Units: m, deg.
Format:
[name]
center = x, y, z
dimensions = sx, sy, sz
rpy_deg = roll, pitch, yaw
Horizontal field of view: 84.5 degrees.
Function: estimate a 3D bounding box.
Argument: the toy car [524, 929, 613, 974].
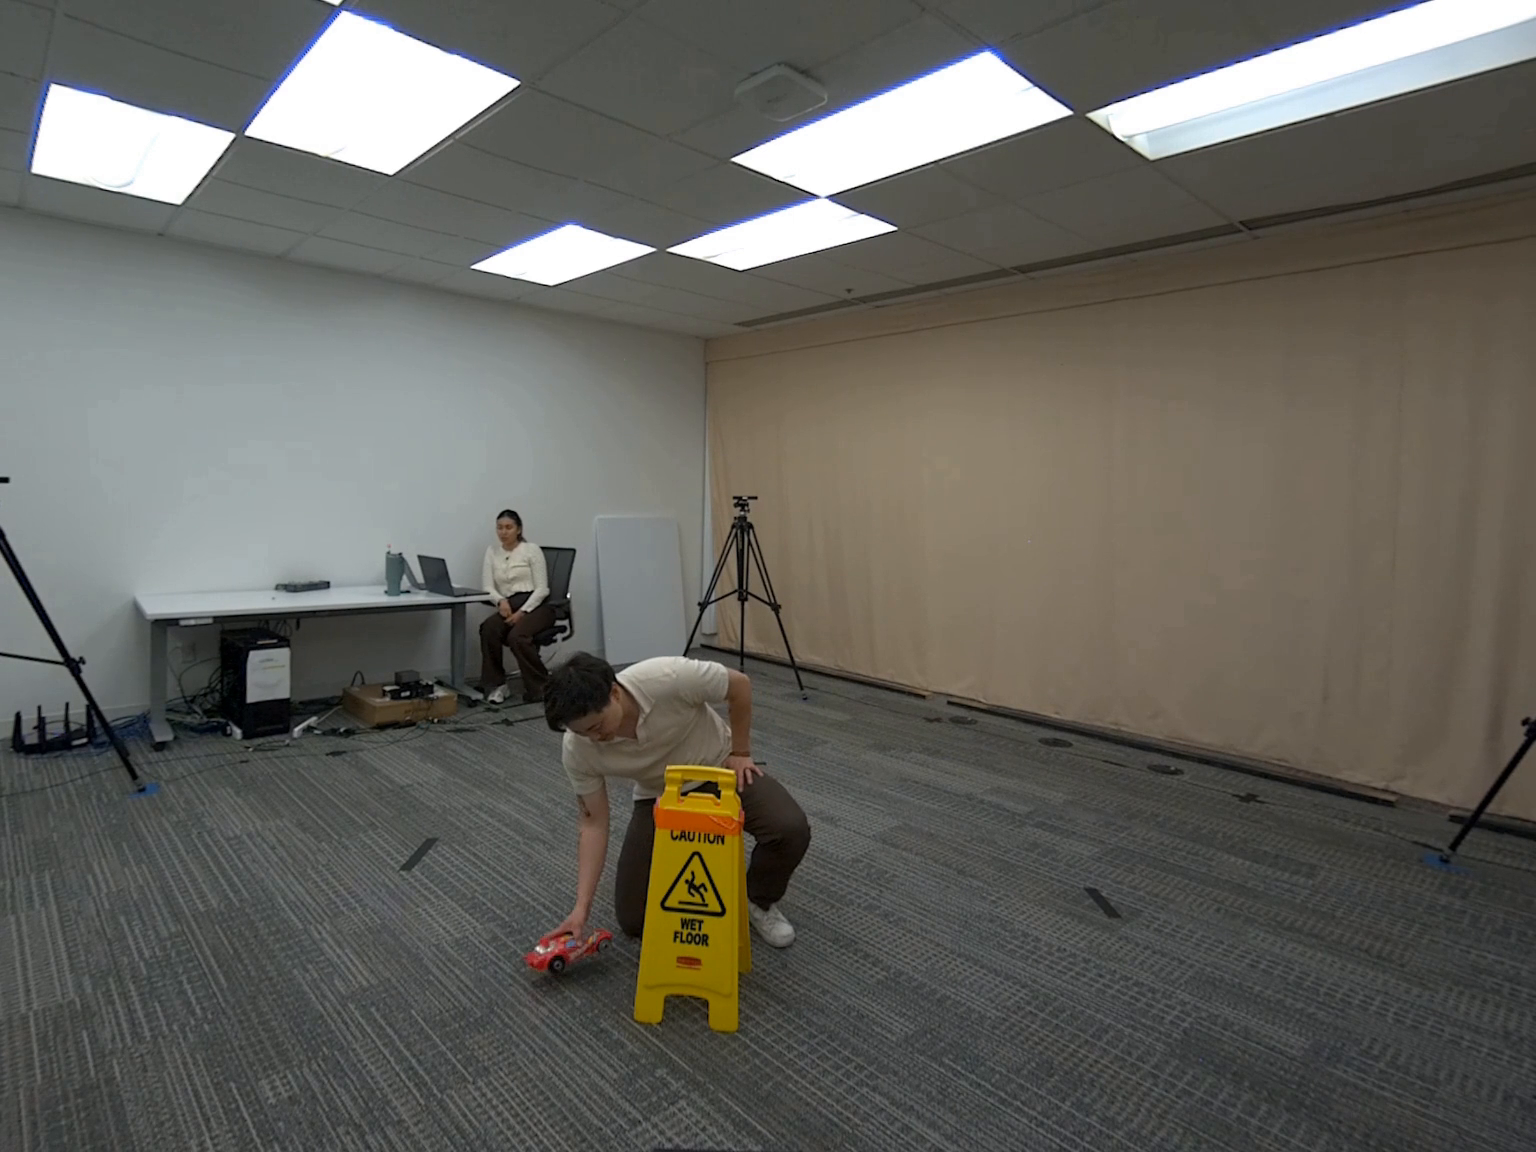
[toy car]
center = -0.559, 1.091, 2.423
dimensions = 0.249, 0.084, 0.132
rpy_deg = 4, -12, -28
